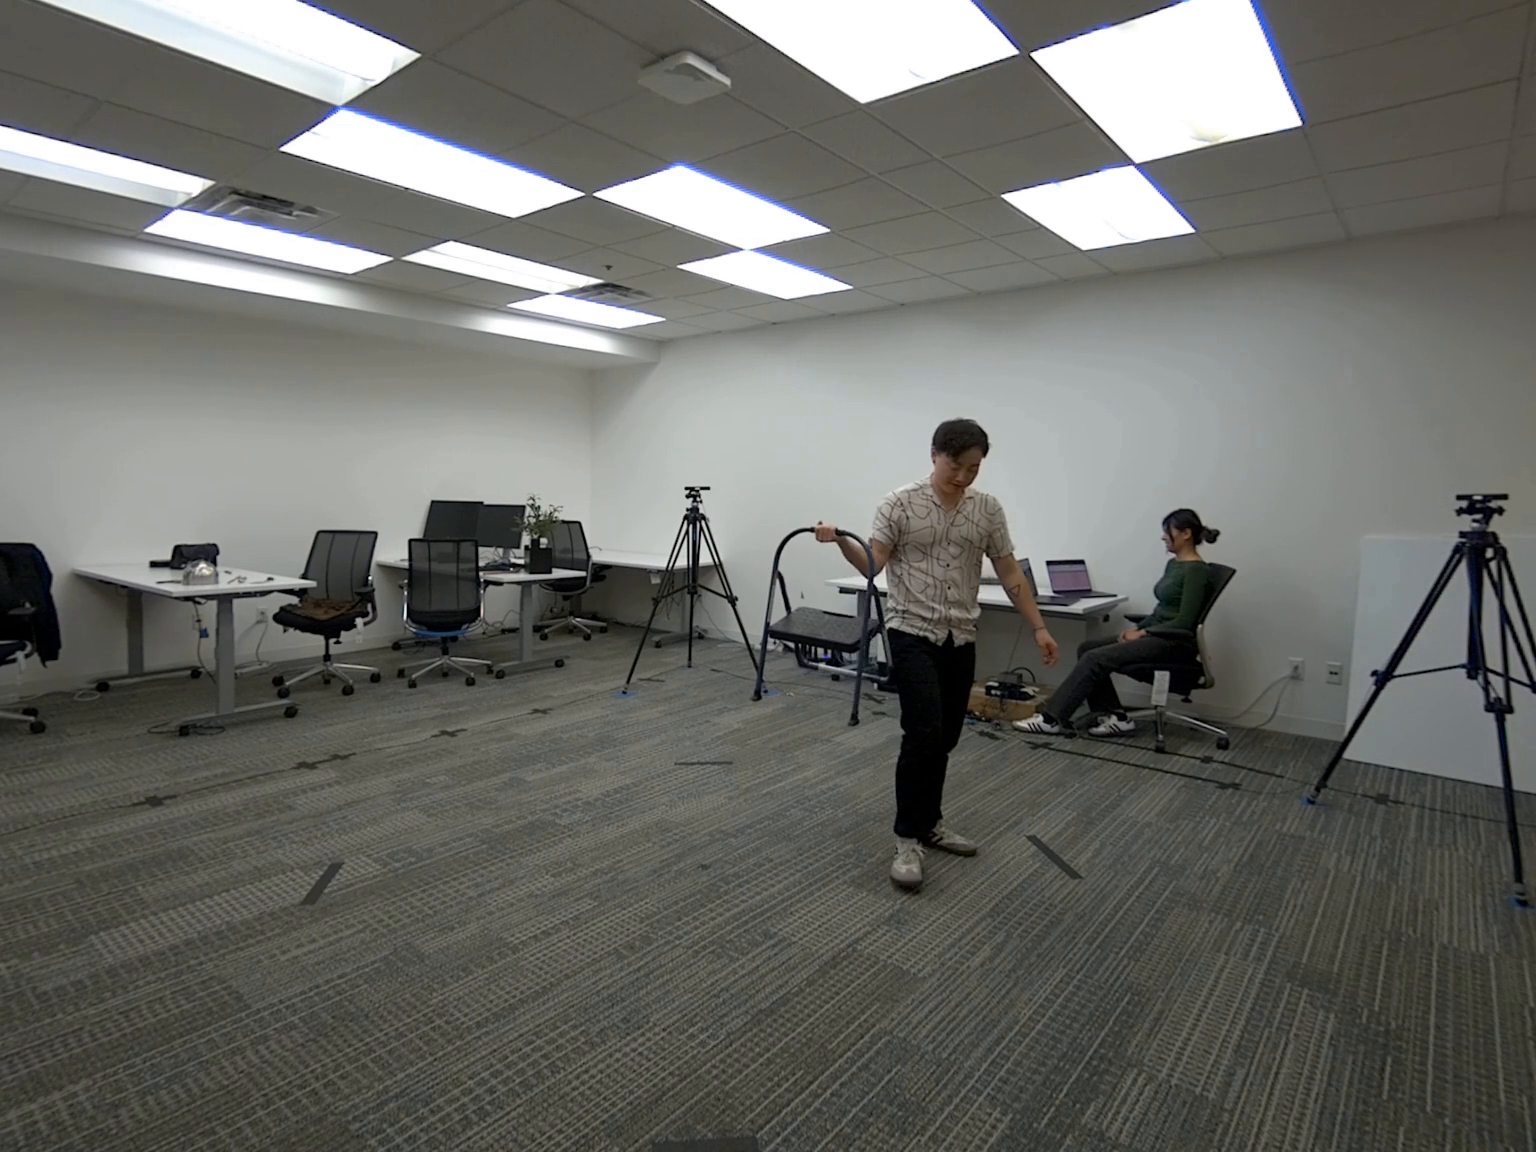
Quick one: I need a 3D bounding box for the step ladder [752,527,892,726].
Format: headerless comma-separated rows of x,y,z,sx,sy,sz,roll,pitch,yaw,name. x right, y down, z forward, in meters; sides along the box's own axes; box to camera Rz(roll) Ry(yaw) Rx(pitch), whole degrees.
0.181,0.142,3.037,0.445,0.596,0.344,8,20,32,step ladder
